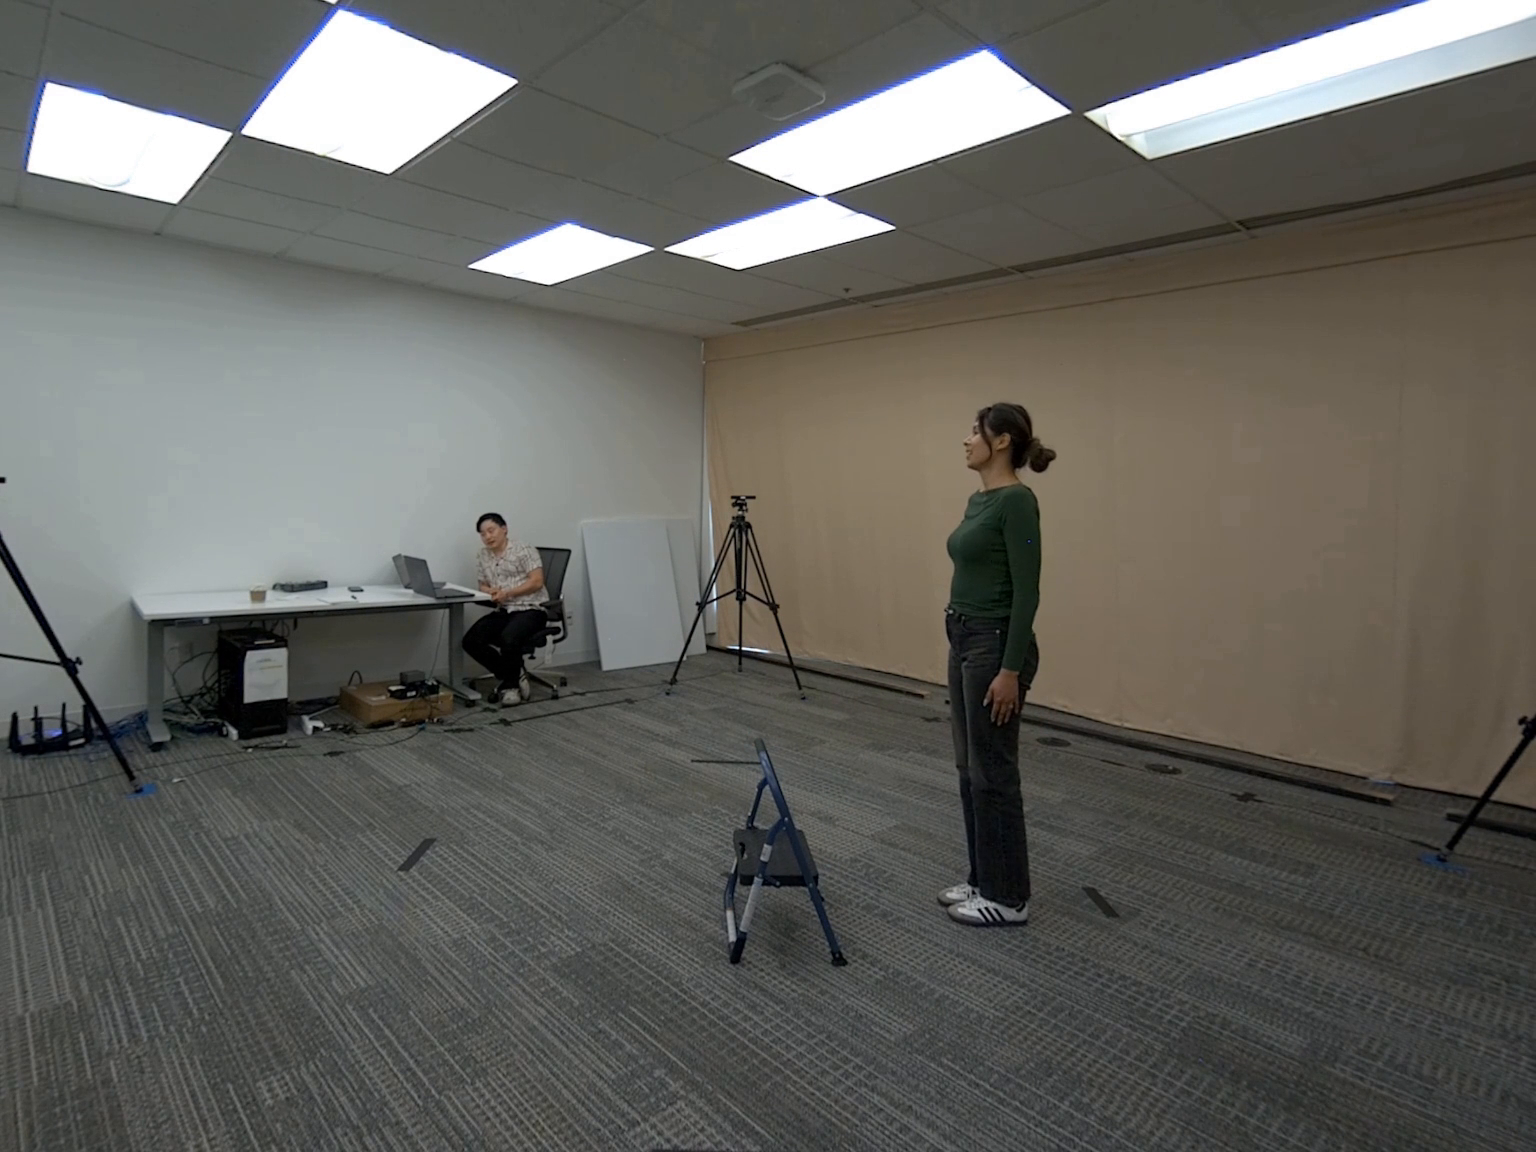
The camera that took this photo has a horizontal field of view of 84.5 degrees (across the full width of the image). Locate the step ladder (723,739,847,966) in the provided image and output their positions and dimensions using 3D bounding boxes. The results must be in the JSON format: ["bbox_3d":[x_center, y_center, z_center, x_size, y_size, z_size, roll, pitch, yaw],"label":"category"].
[{"bbox_3d":[0.036,0.847,2.696,0.347,0.604,0.434,1,4,-7],"label":"step ladder"}]
